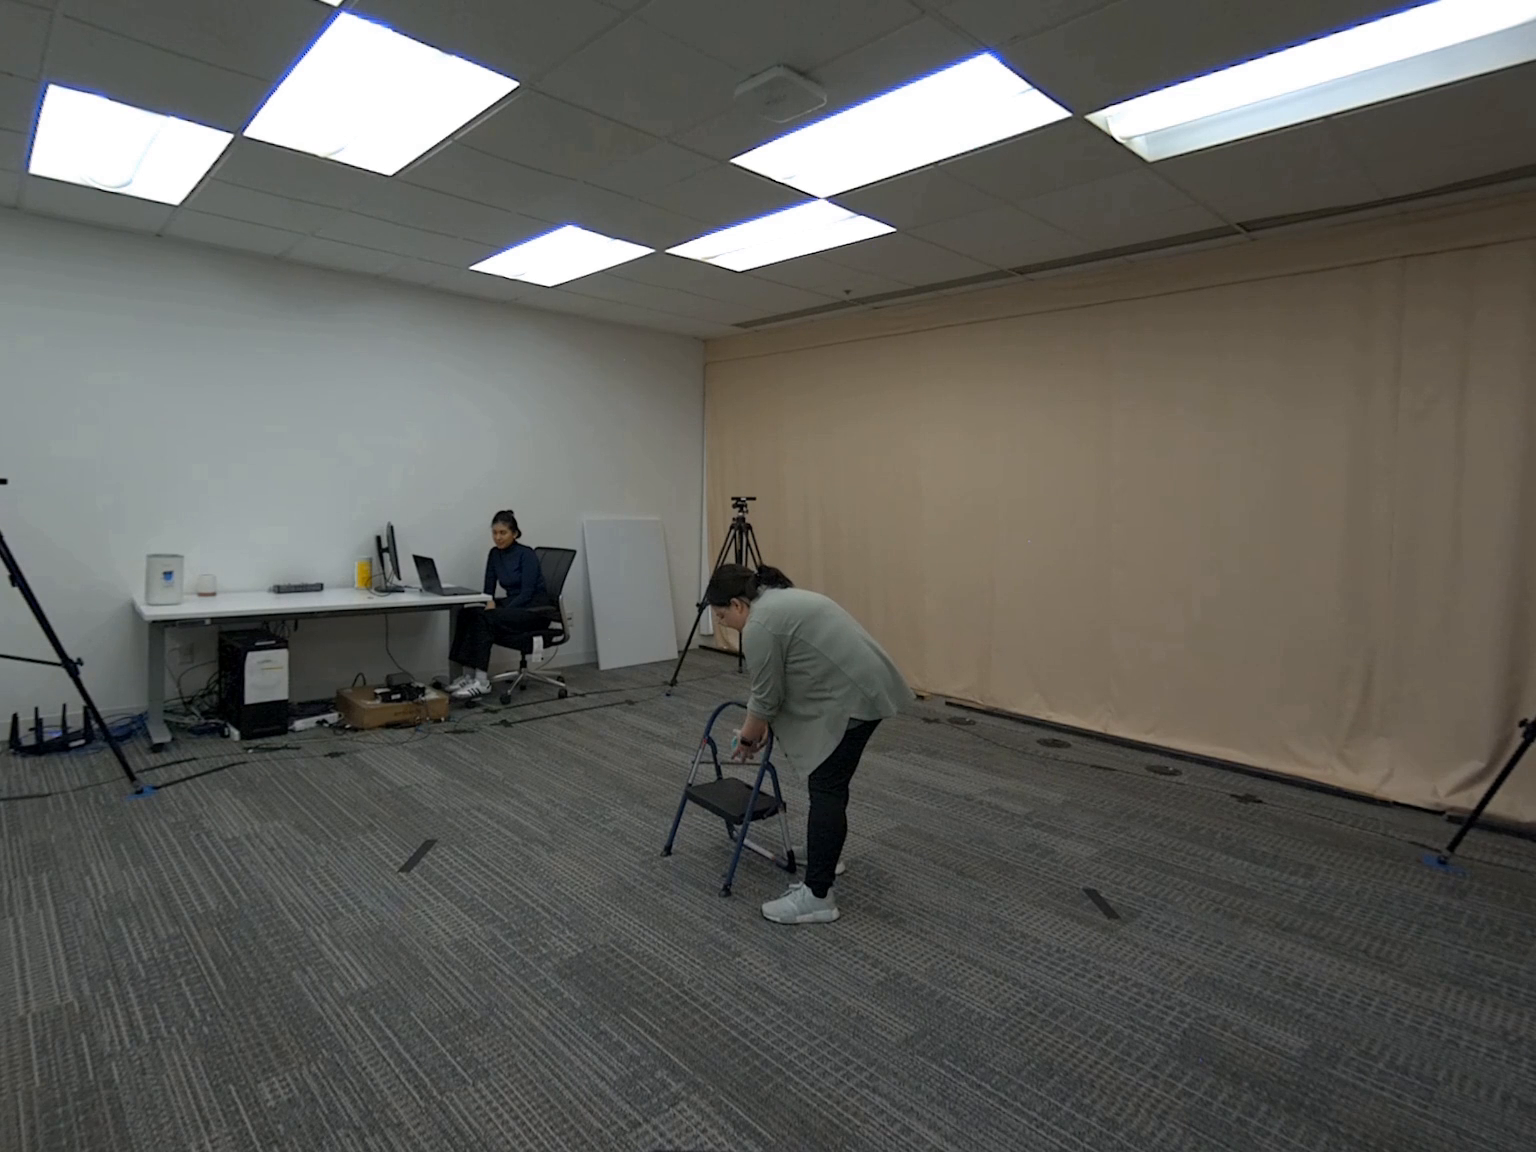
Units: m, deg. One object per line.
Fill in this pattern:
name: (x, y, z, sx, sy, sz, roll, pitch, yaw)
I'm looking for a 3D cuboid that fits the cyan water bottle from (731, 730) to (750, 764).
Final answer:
cyan water bottle: (-0.077, 0.636, 3.276, 0.093, 0.092, 0.282, 2, 4, 7)
